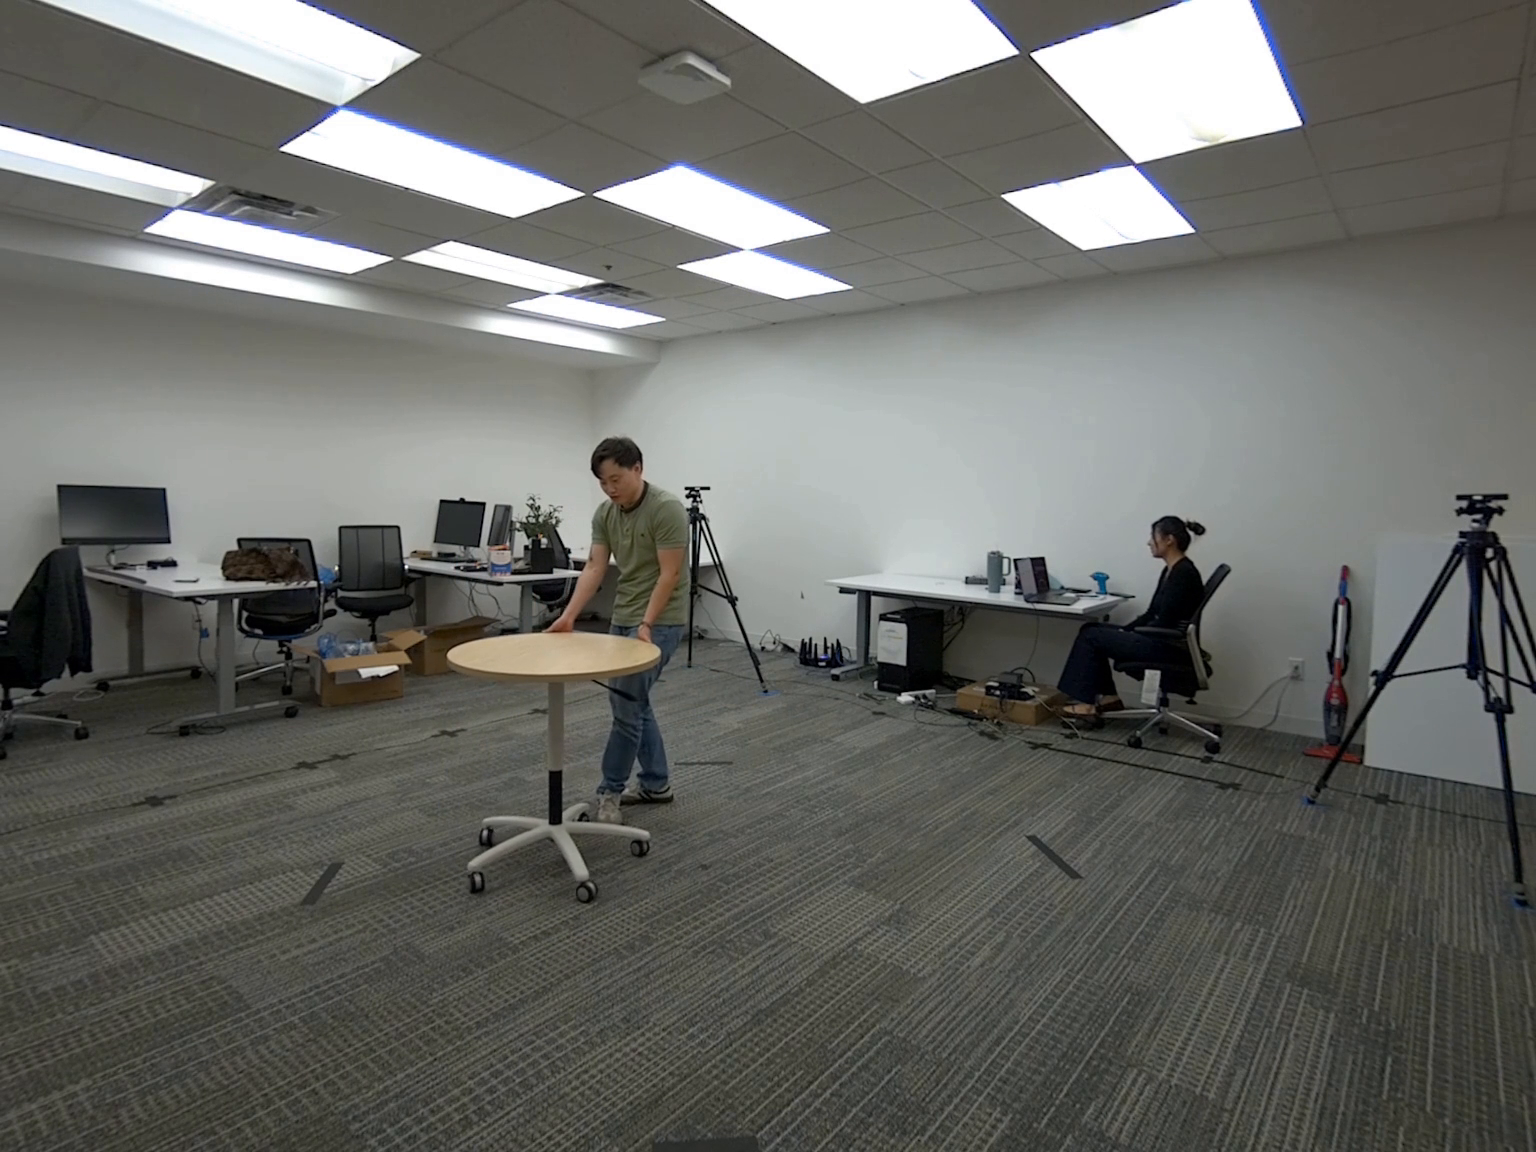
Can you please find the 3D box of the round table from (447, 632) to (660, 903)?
[{"bbox_3d":[-0.798,0.666,3.133,0.763,0.791,0.768,1,4,-2],"label":"round table"}]
